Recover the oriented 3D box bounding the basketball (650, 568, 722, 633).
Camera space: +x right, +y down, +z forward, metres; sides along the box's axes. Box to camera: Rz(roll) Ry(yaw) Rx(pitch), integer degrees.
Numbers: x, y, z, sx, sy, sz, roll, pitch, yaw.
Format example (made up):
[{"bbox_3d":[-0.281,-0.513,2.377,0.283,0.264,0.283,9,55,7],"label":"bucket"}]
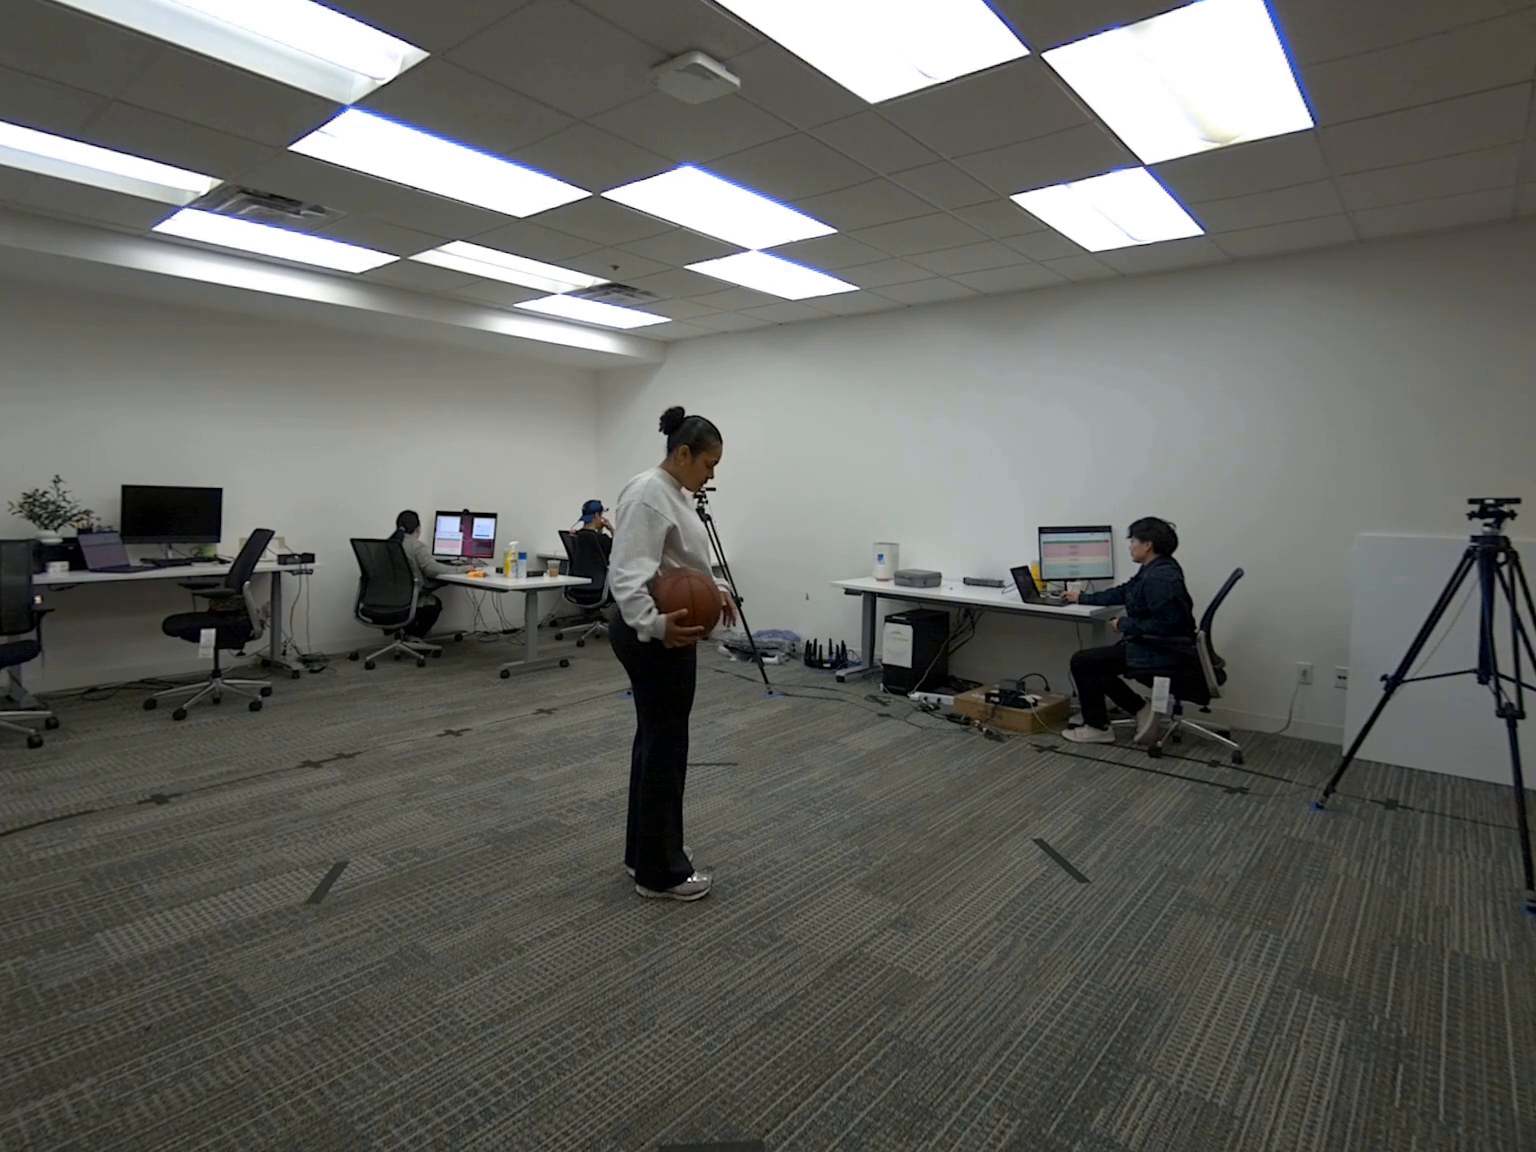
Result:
[{"bbox_3d":[-0.271,0.087,2.708,0.235,0.235,0.237,1,4,-2],"label":"basketball"}]
